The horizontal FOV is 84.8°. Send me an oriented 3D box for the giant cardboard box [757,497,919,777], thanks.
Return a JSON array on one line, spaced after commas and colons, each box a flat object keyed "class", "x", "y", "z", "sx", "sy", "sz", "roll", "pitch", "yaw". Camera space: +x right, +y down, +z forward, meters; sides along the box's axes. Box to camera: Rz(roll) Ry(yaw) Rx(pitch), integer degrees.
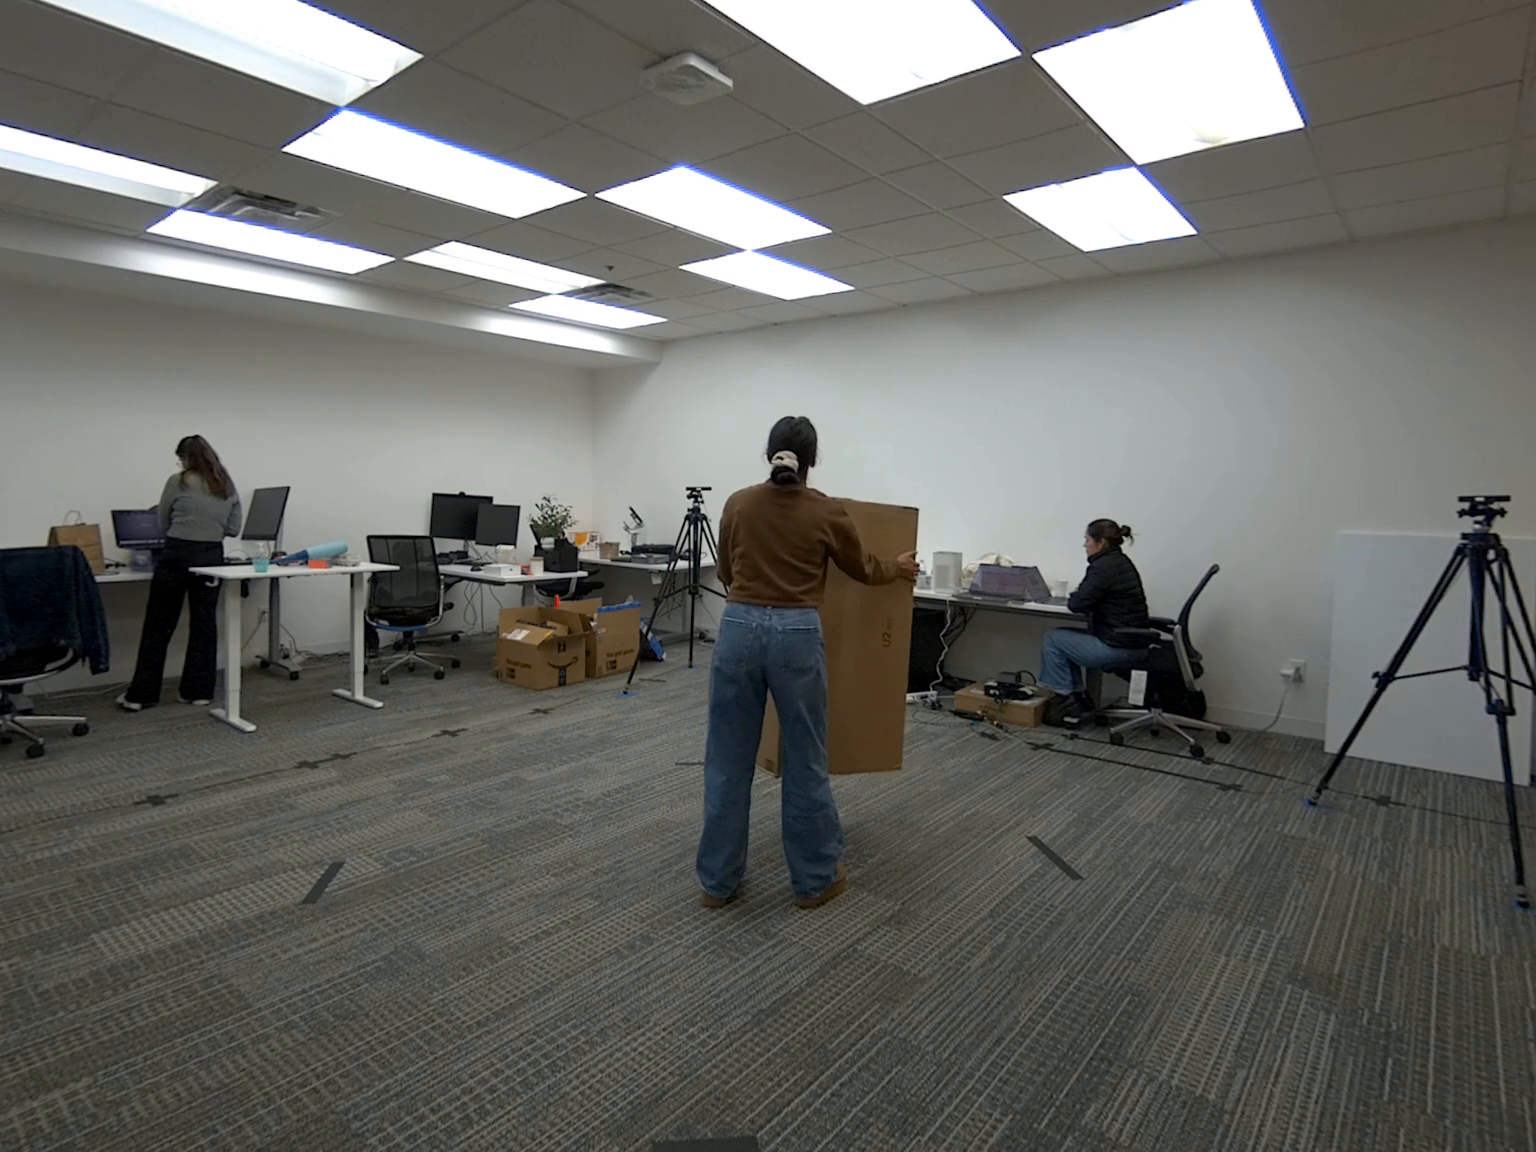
[{"class": "giant cardboard box", "x": 0.195, "y": 0.216, "z": 3.359, "sx": 0.561, "sy": 1.027, "sz": 0.438, "roll": 4, "pitch": -1, "yaw": -28}]
